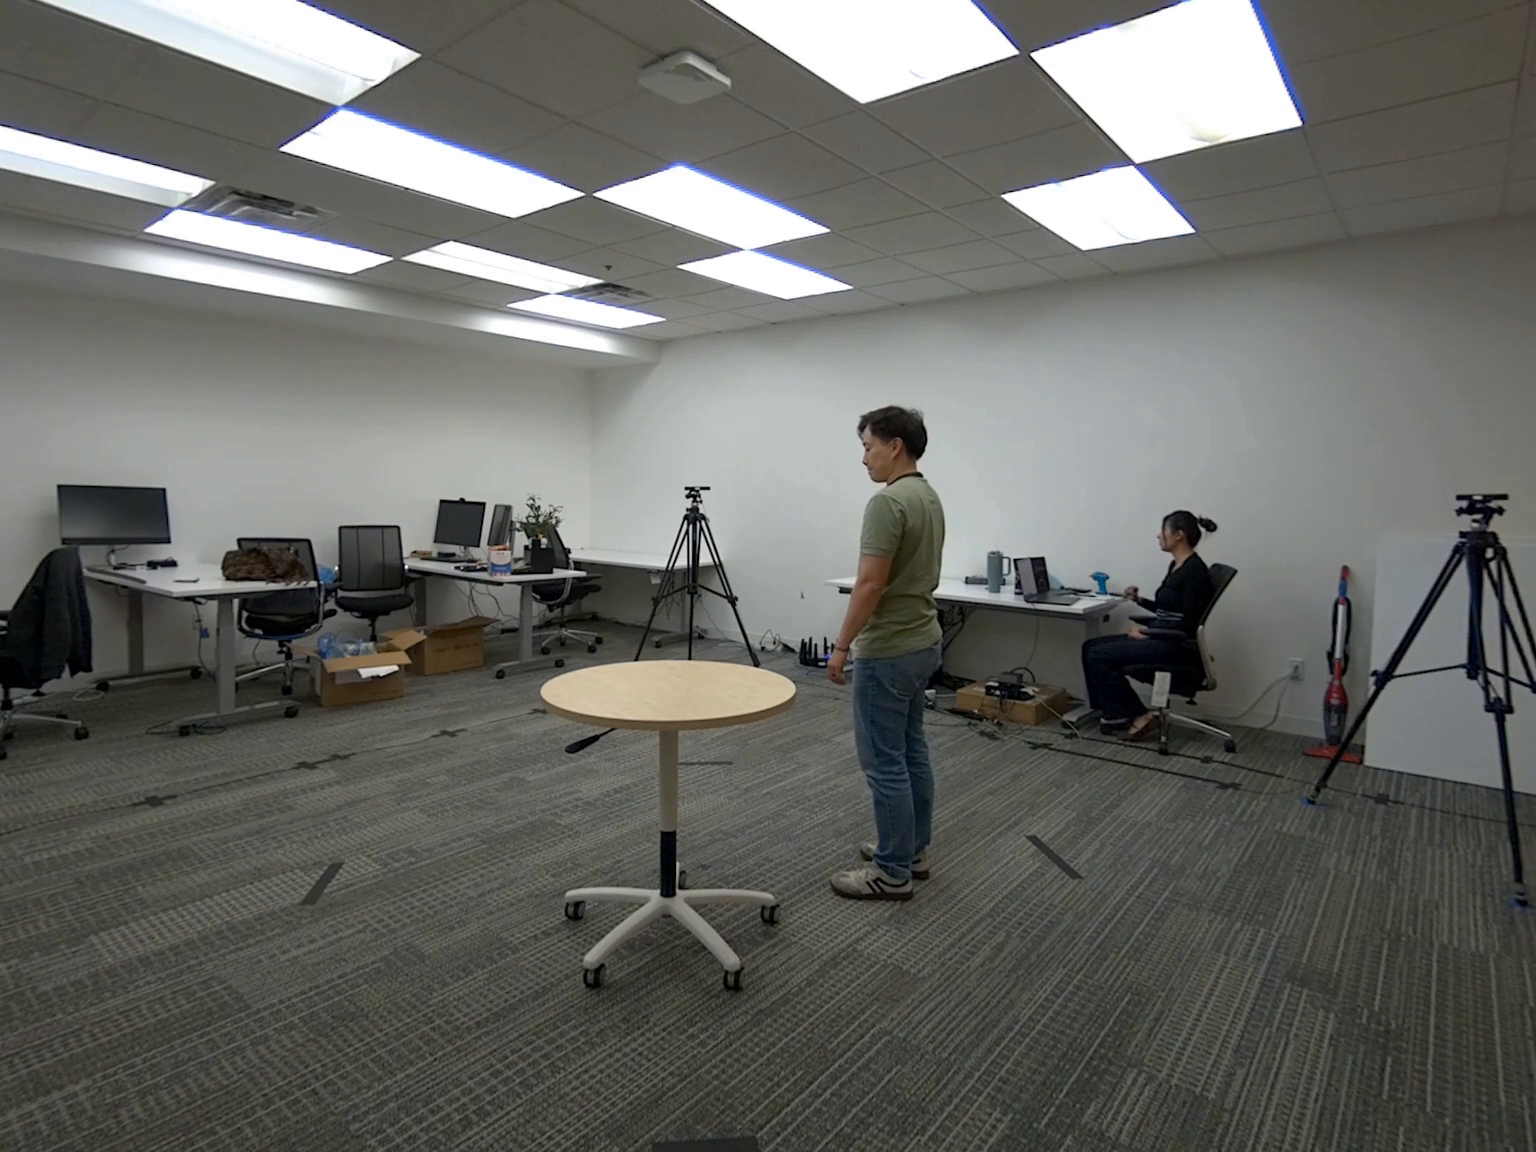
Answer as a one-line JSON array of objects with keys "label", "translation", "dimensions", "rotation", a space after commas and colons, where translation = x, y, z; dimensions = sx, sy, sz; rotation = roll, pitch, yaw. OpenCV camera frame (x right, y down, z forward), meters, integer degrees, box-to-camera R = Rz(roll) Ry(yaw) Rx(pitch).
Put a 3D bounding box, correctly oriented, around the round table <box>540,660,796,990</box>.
[{"label": "round table", "translation": [-0.315, 0.727, 2.594], "dimensions": [0.763, 0.791, 0.768], "rotation": [0, 5, -2]}]
